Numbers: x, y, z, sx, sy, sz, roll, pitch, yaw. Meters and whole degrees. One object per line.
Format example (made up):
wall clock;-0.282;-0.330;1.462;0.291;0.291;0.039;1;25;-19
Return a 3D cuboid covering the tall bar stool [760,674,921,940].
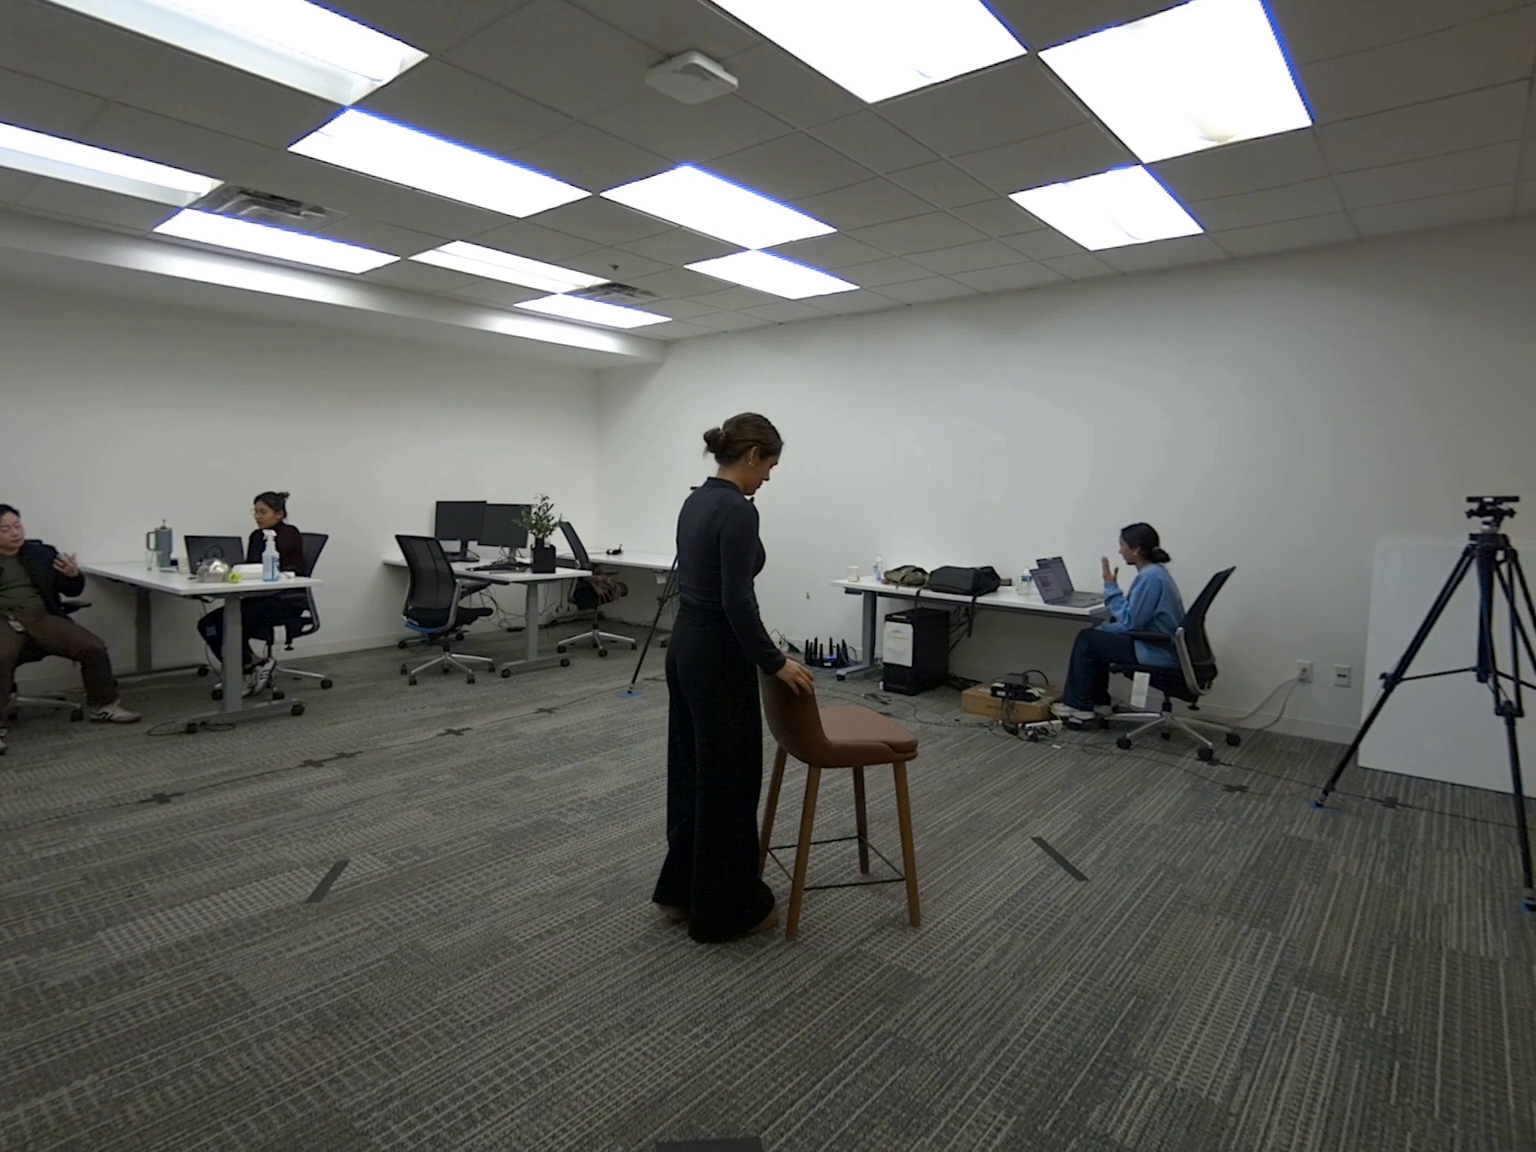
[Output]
tall bar stool;0.210;0.661;2.835;0.460;0.887;0.466;-3;4;-18
